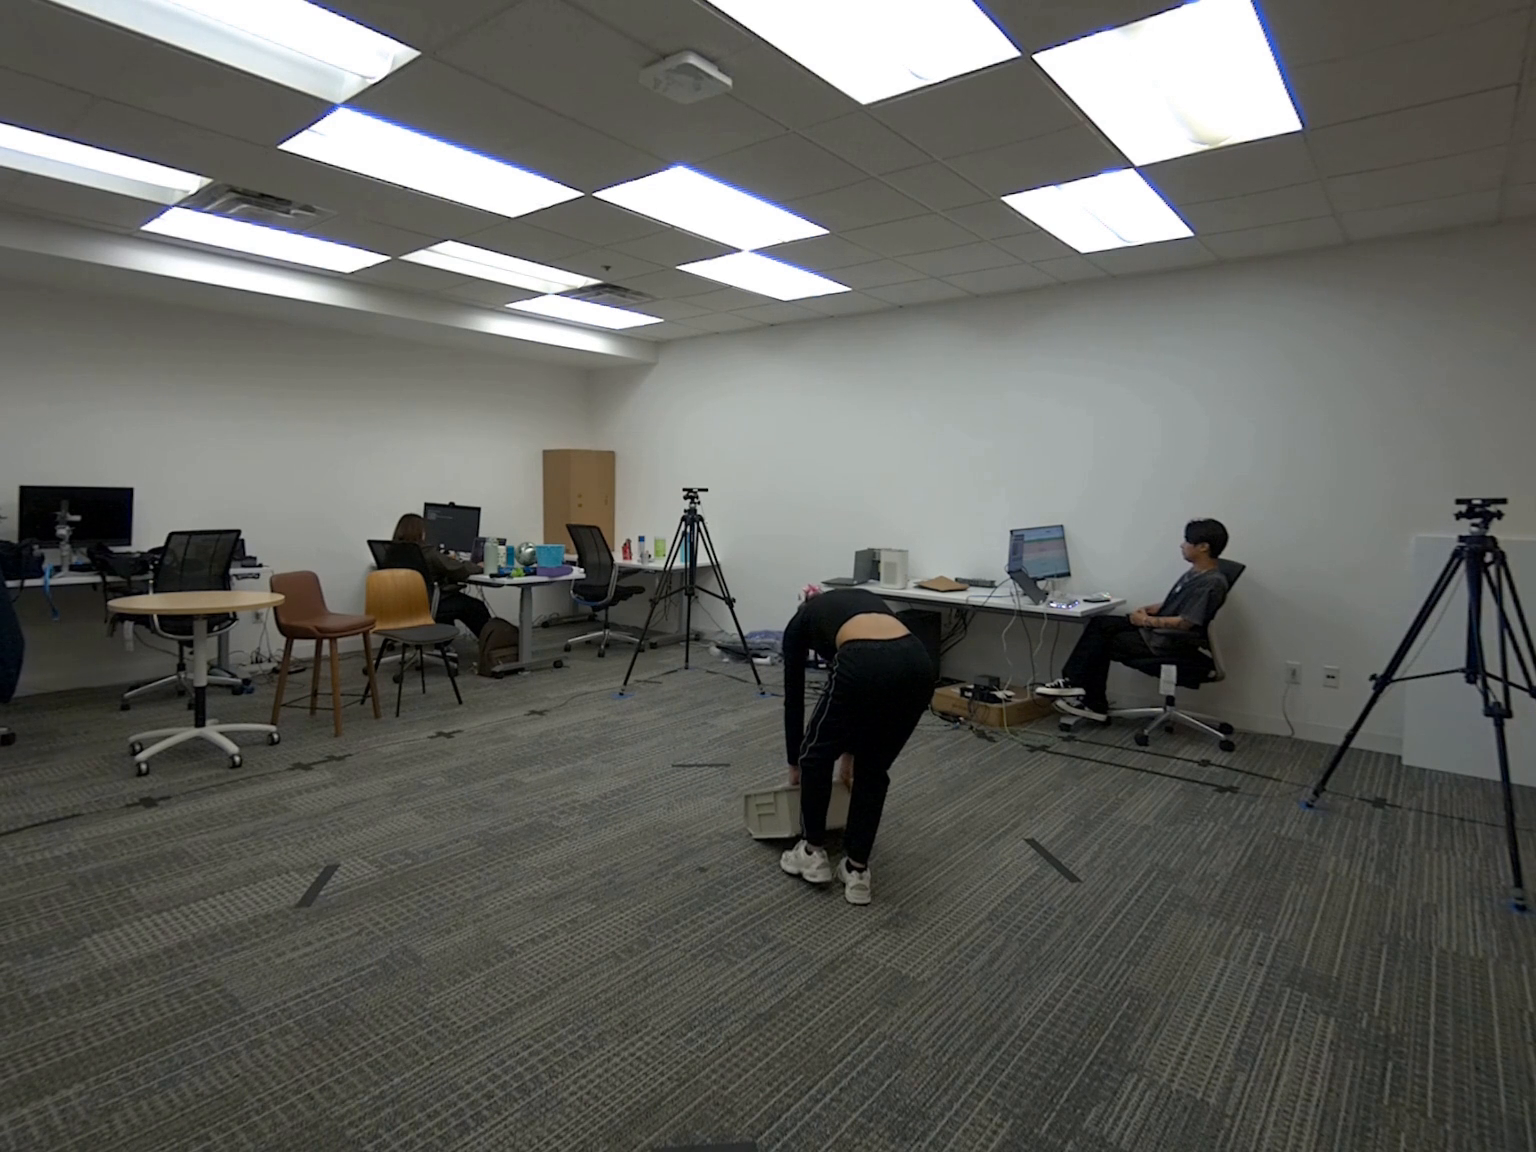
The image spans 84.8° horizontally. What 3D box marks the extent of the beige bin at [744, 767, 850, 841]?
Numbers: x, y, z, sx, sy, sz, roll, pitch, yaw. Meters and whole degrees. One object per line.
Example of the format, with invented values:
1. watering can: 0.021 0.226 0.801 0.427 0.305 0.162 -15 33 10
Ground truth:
1. beige bin: 0.158 0.918 3.382 0.412 0.192 0.380 1 -16 -26
